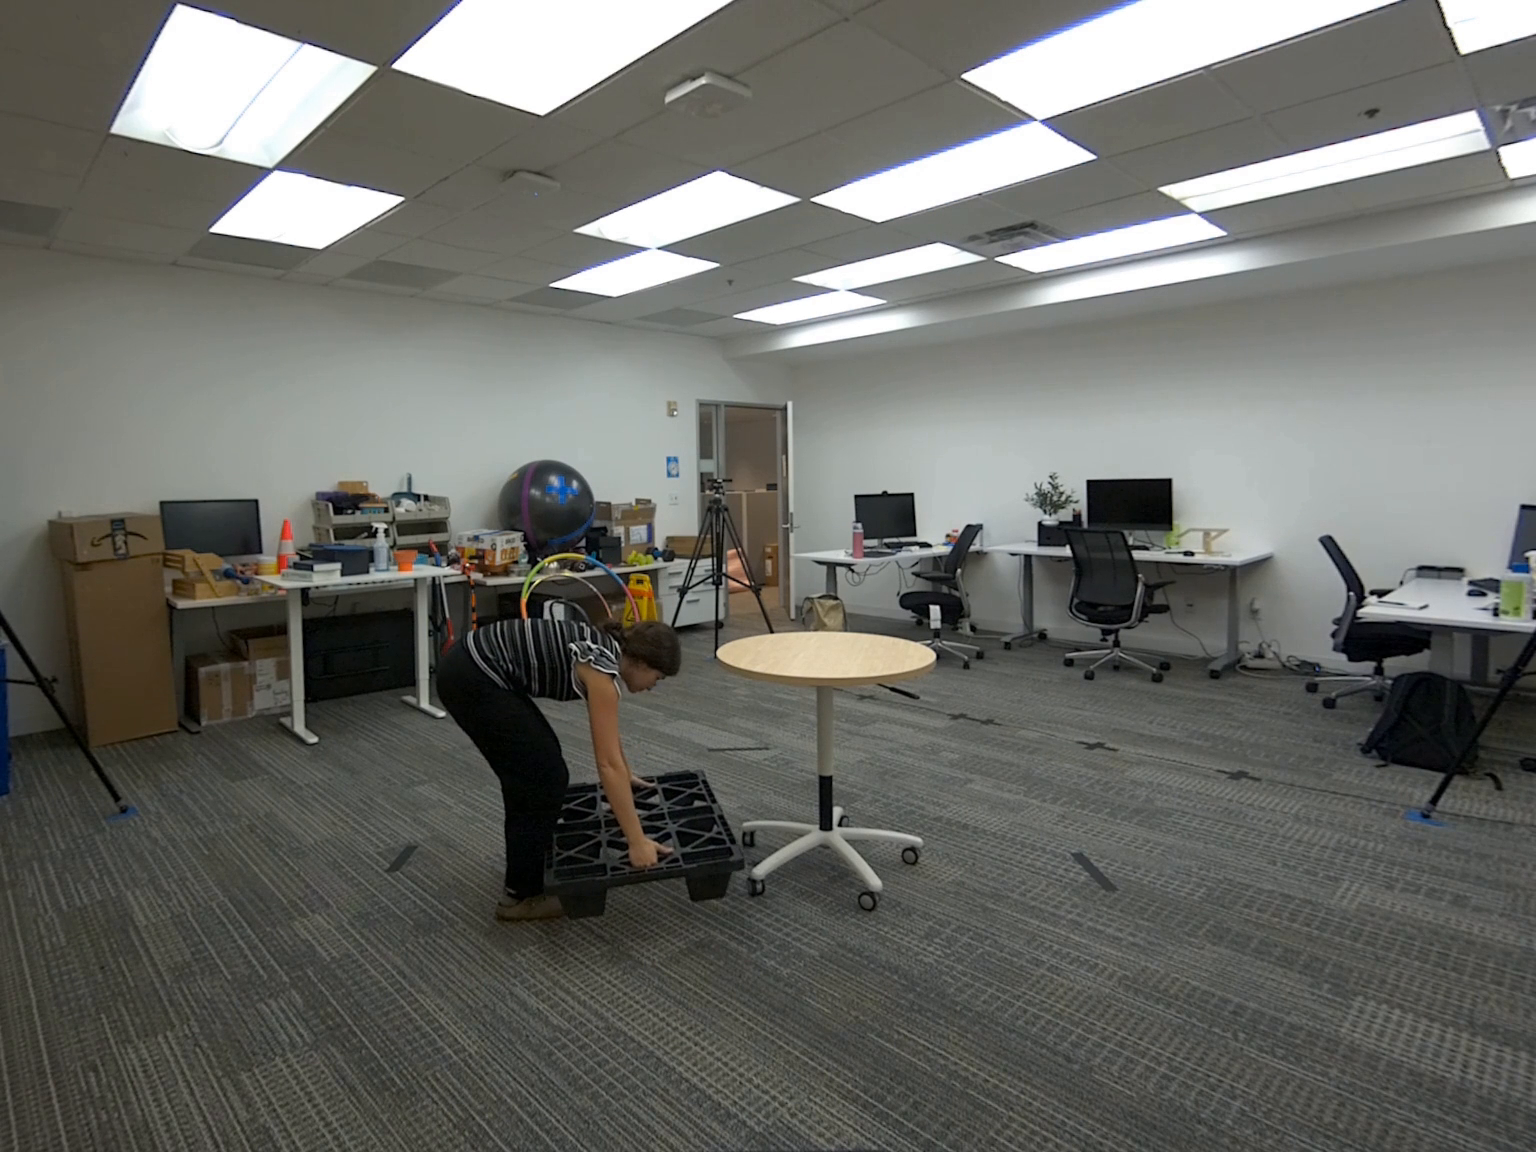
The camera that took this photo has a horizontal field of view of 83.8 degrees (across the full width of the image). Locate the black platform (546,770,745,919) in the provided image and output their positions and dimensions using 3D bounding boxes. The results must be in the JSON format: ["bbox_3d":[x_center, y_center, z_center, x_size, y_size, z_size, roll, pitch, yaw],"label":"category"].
[{"bbox_3d":[-0.441,0.887,2.909,0.599,0.142,0.819,-4,7,-12],"label":"black platform"}]
